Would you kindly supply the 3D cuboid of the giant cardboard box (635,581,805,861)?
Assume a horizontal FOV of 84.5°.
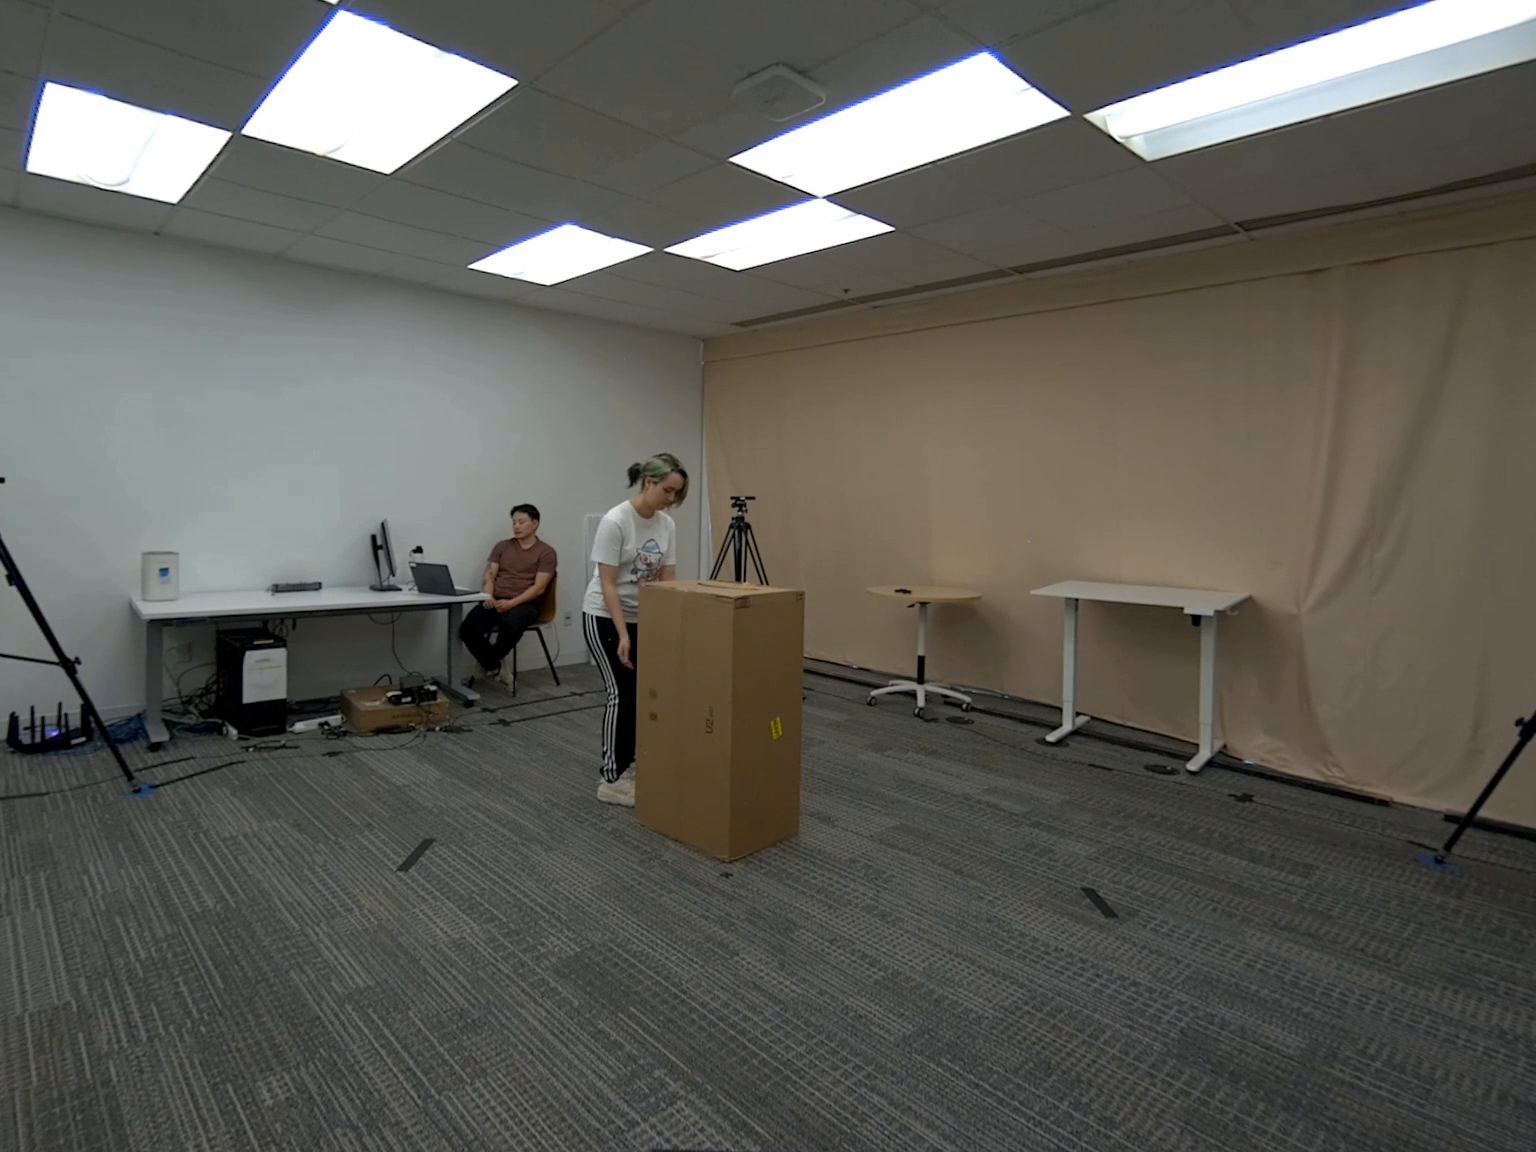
[{"bbox_3d":[-0.214,0.558,3.526,0.599,1.024,0.437,4,5,43],"label":"giant cardboard box"}]
